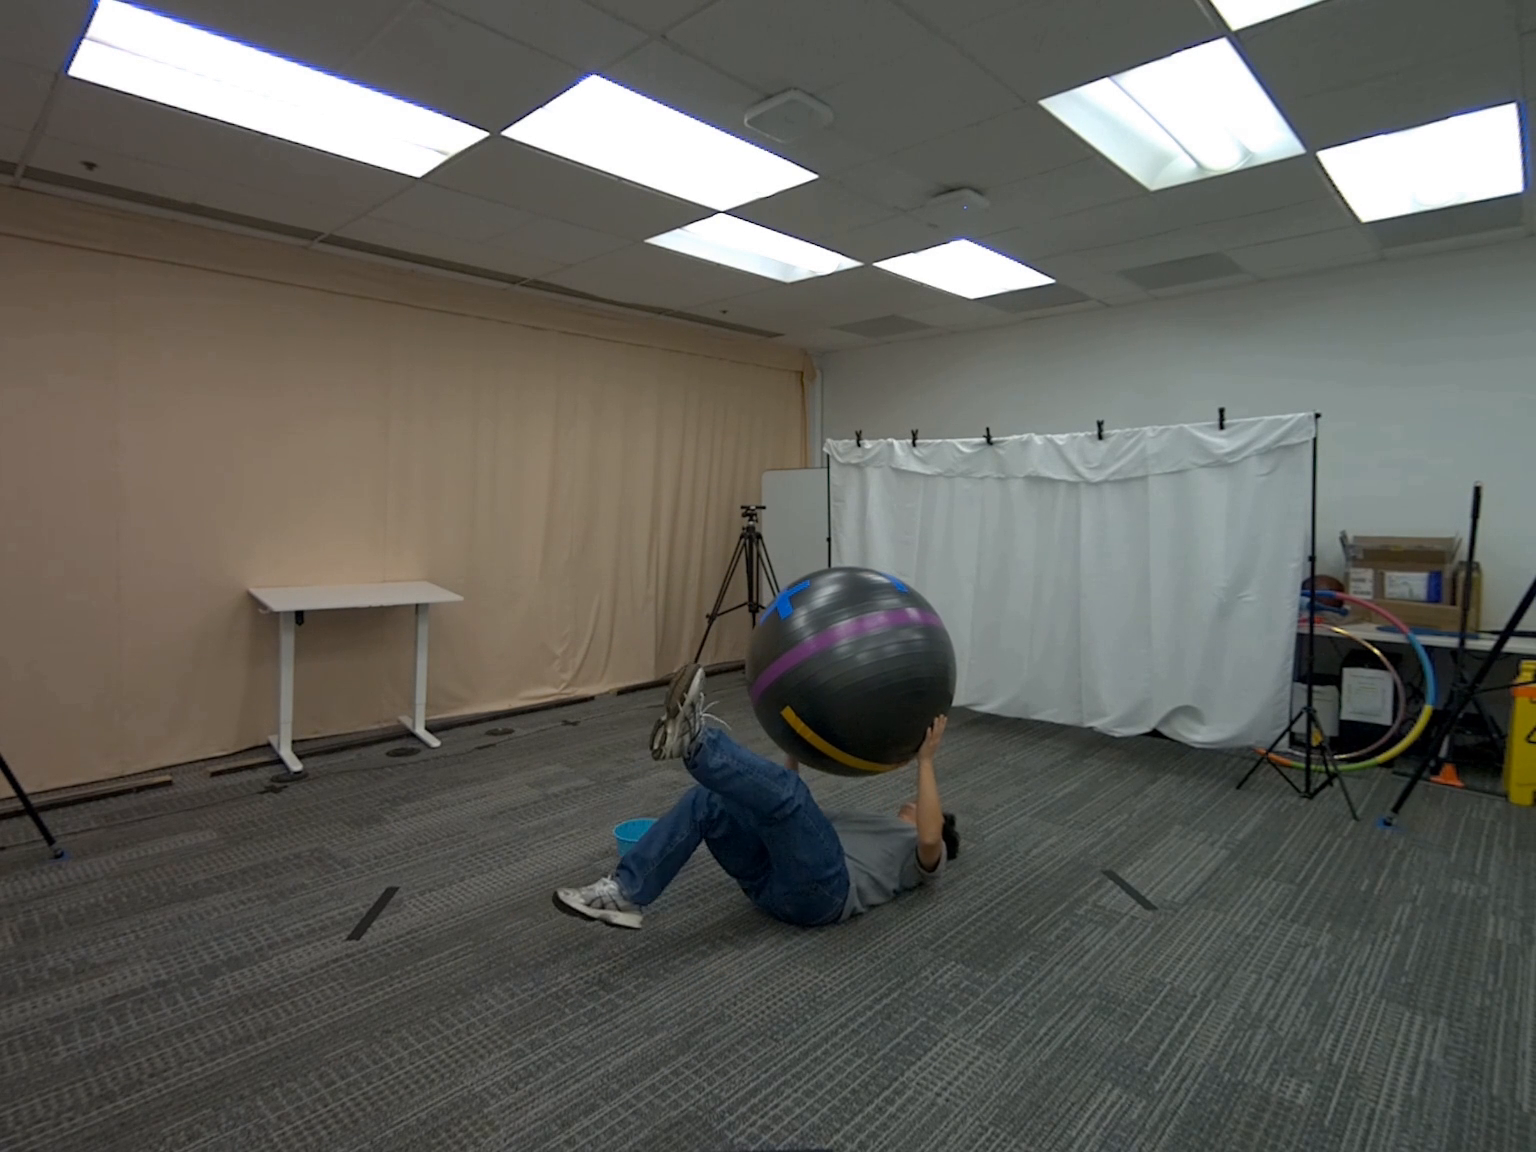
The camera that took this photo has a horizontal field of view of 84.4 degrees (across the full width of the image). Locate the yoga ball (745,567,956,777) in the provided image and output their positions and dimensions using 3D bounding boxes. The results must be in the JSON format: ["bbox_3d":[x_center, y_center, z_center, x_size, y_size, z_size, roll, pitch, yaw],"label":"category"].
[{"bbox_3d":[0.297,0.352,3.095,0.757,0.756,0.760,0,4,-2],"label":"yoga ball"}]
